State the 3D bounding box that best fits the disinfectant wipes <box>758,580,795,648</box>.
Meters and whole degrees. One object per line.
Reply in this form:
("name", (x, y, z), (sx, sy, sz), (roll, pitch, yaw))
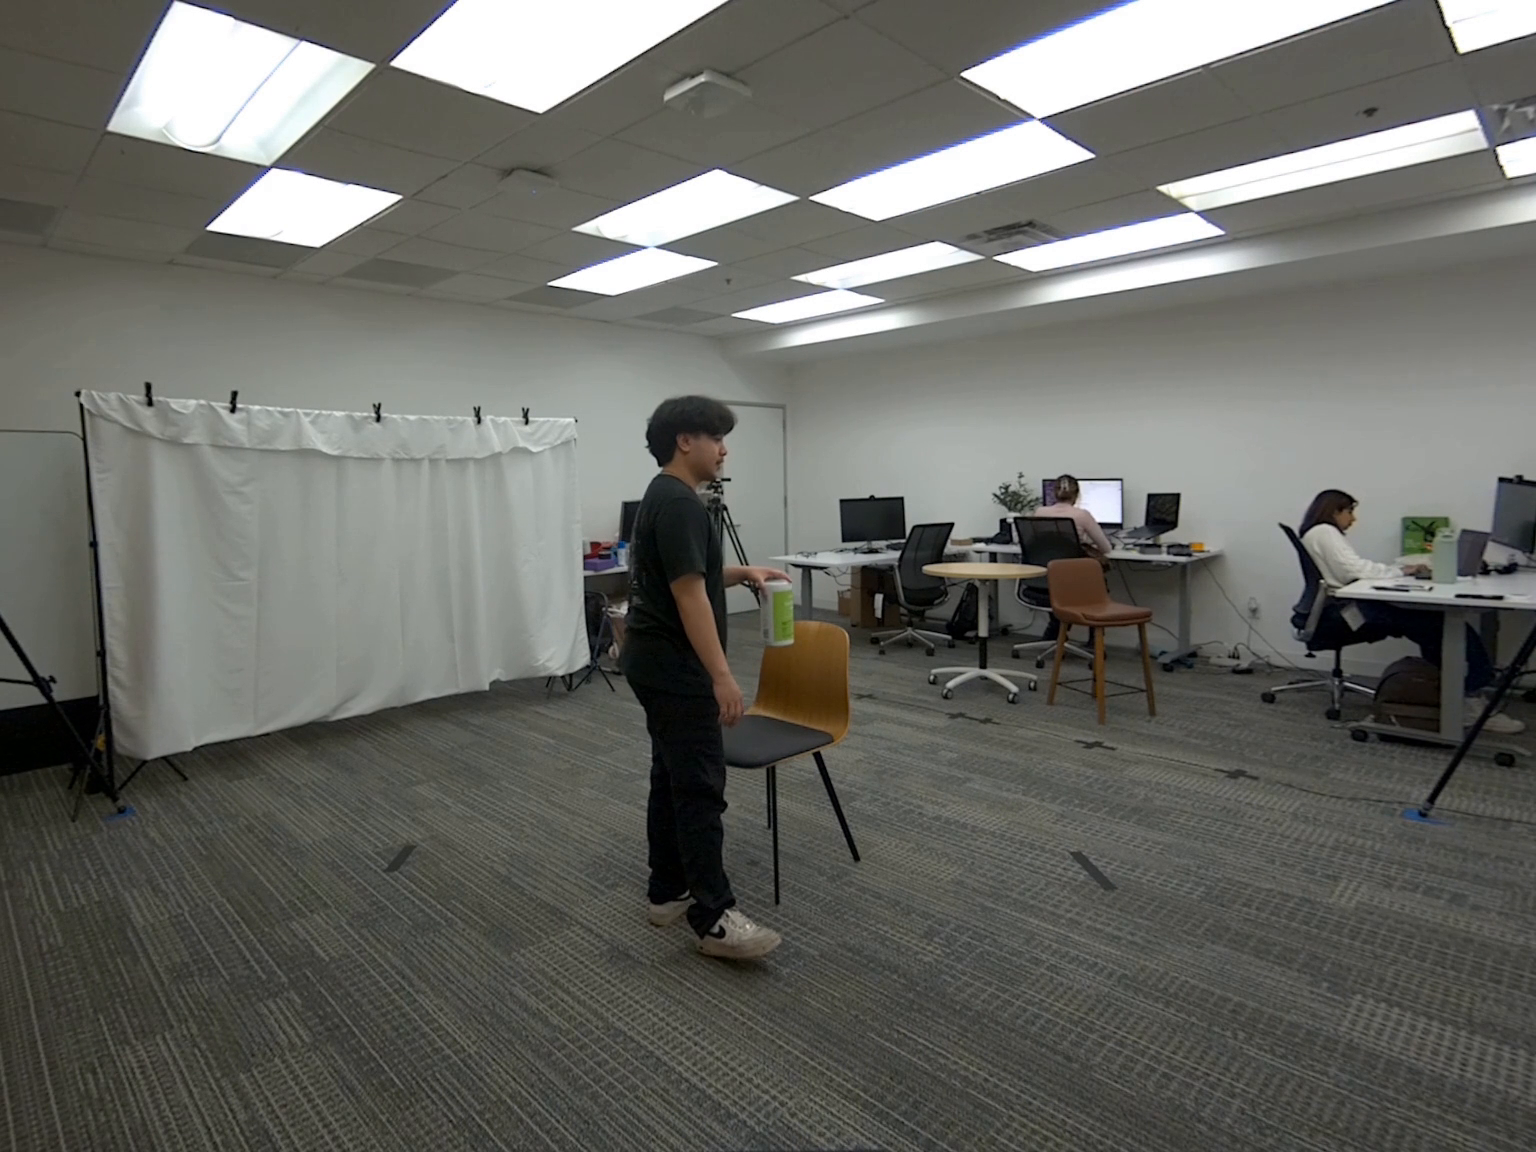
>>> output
("disinfectant wipes", (0.012, 0.120, 2.874), (0.118, 0.216, 0.118), (-2, 5, -2))
